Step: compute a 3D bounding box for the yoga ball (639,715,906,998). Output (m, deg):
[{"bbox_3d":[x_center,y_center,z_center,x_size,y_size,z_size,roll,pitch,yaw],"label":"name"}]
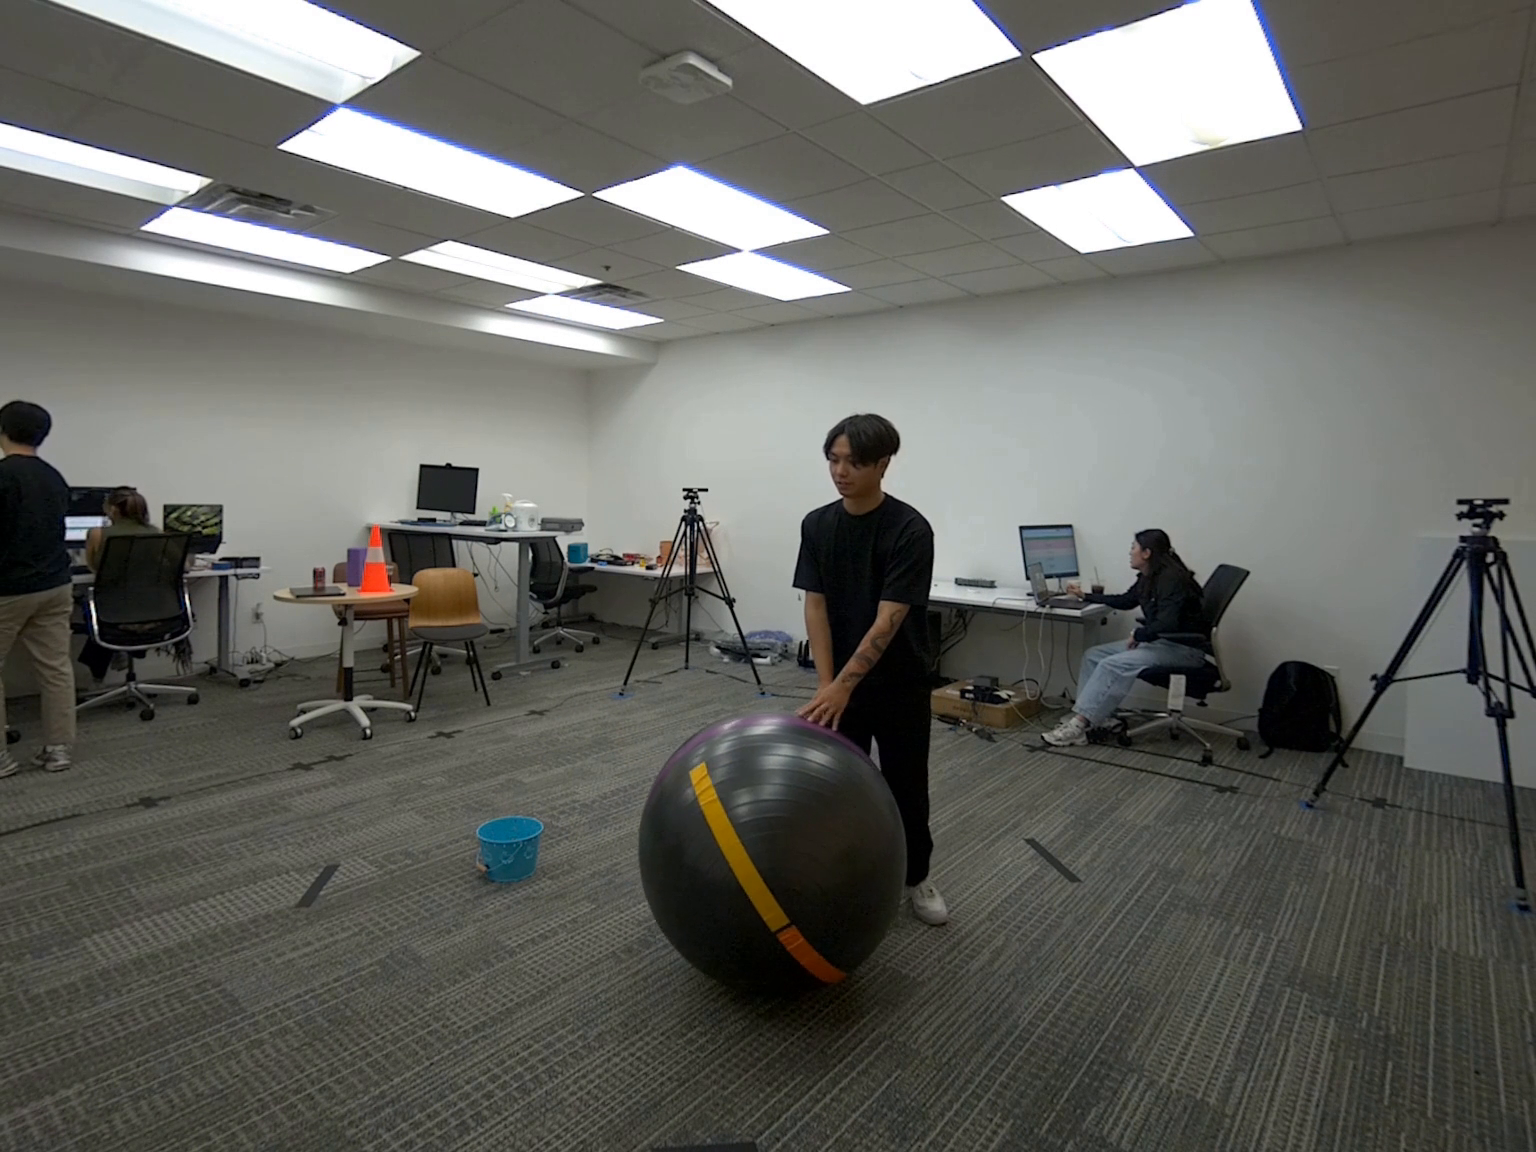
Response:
[{"bbox_3d":[0.005,0.777,2.417,0.757,0.755,0.762,1,4,-2],"label":"yoga ball"}]
